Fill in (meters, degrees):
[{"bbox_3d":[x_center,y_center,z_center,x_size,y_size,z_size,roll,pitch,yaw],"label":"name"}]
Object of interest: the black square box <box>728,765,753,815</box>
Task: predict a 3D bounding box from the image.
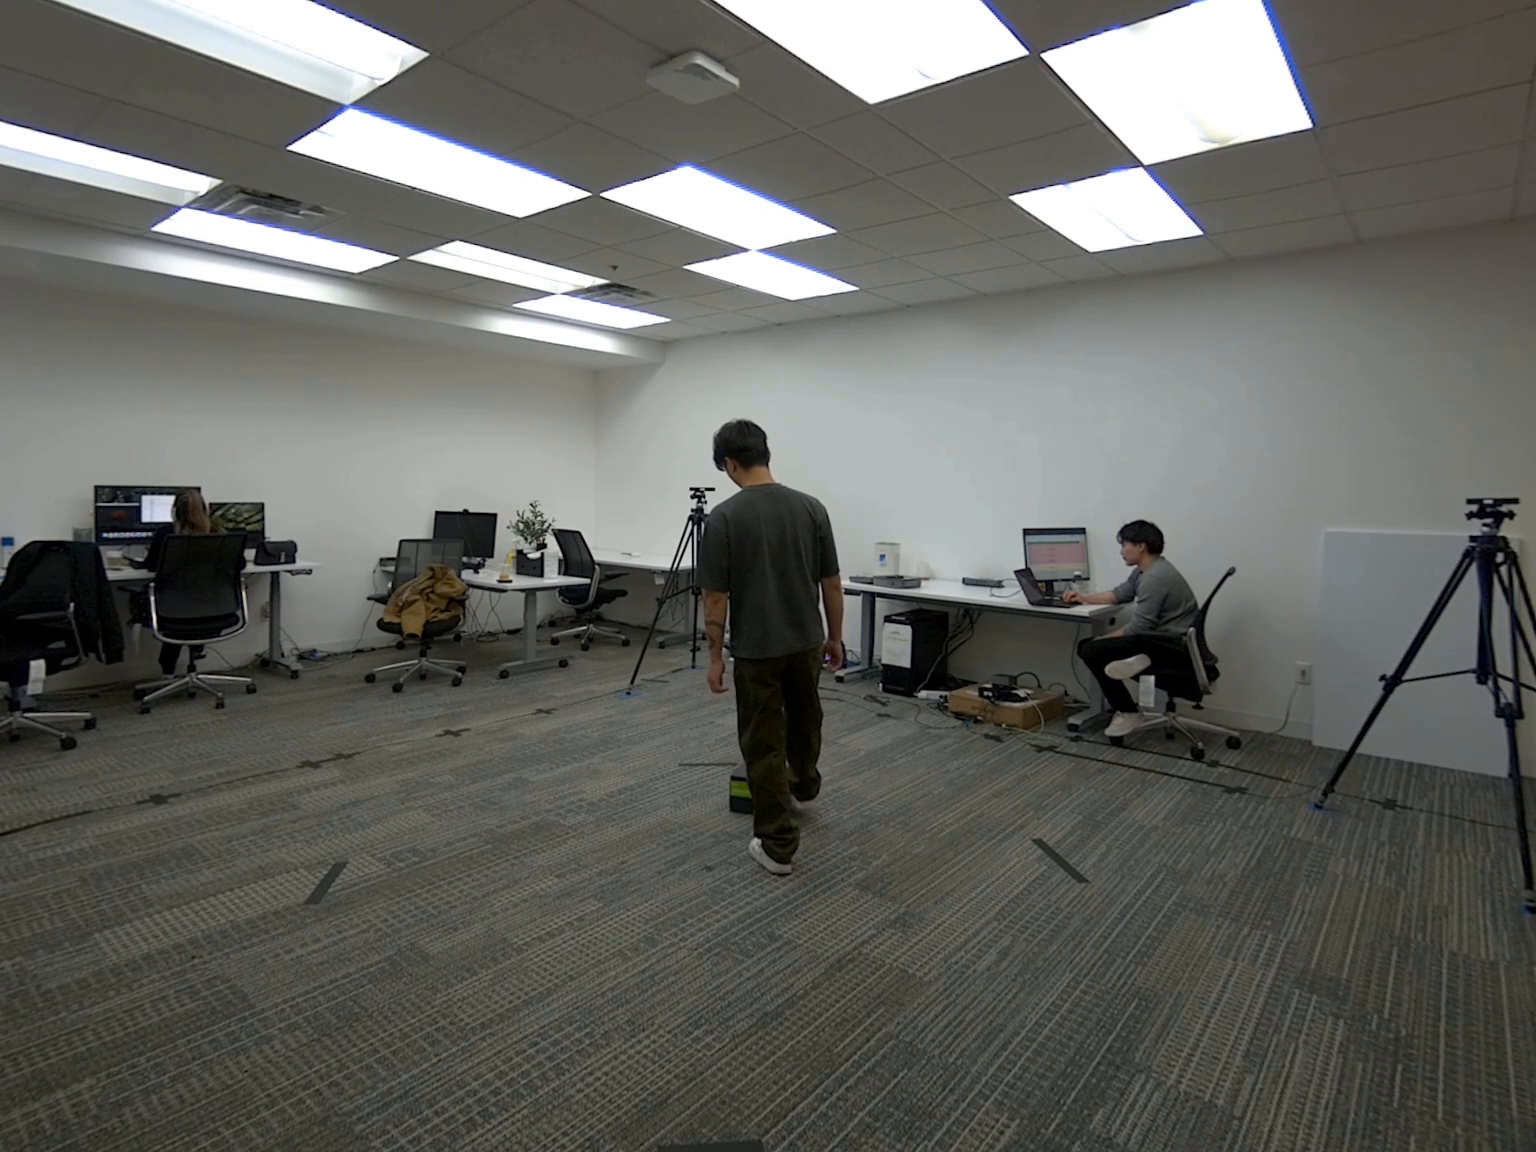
[{"bbox_3d":[-0.044,0.924,3.728,0.232,0.155,0.213,3,4,16],"label":"black square box"}]
